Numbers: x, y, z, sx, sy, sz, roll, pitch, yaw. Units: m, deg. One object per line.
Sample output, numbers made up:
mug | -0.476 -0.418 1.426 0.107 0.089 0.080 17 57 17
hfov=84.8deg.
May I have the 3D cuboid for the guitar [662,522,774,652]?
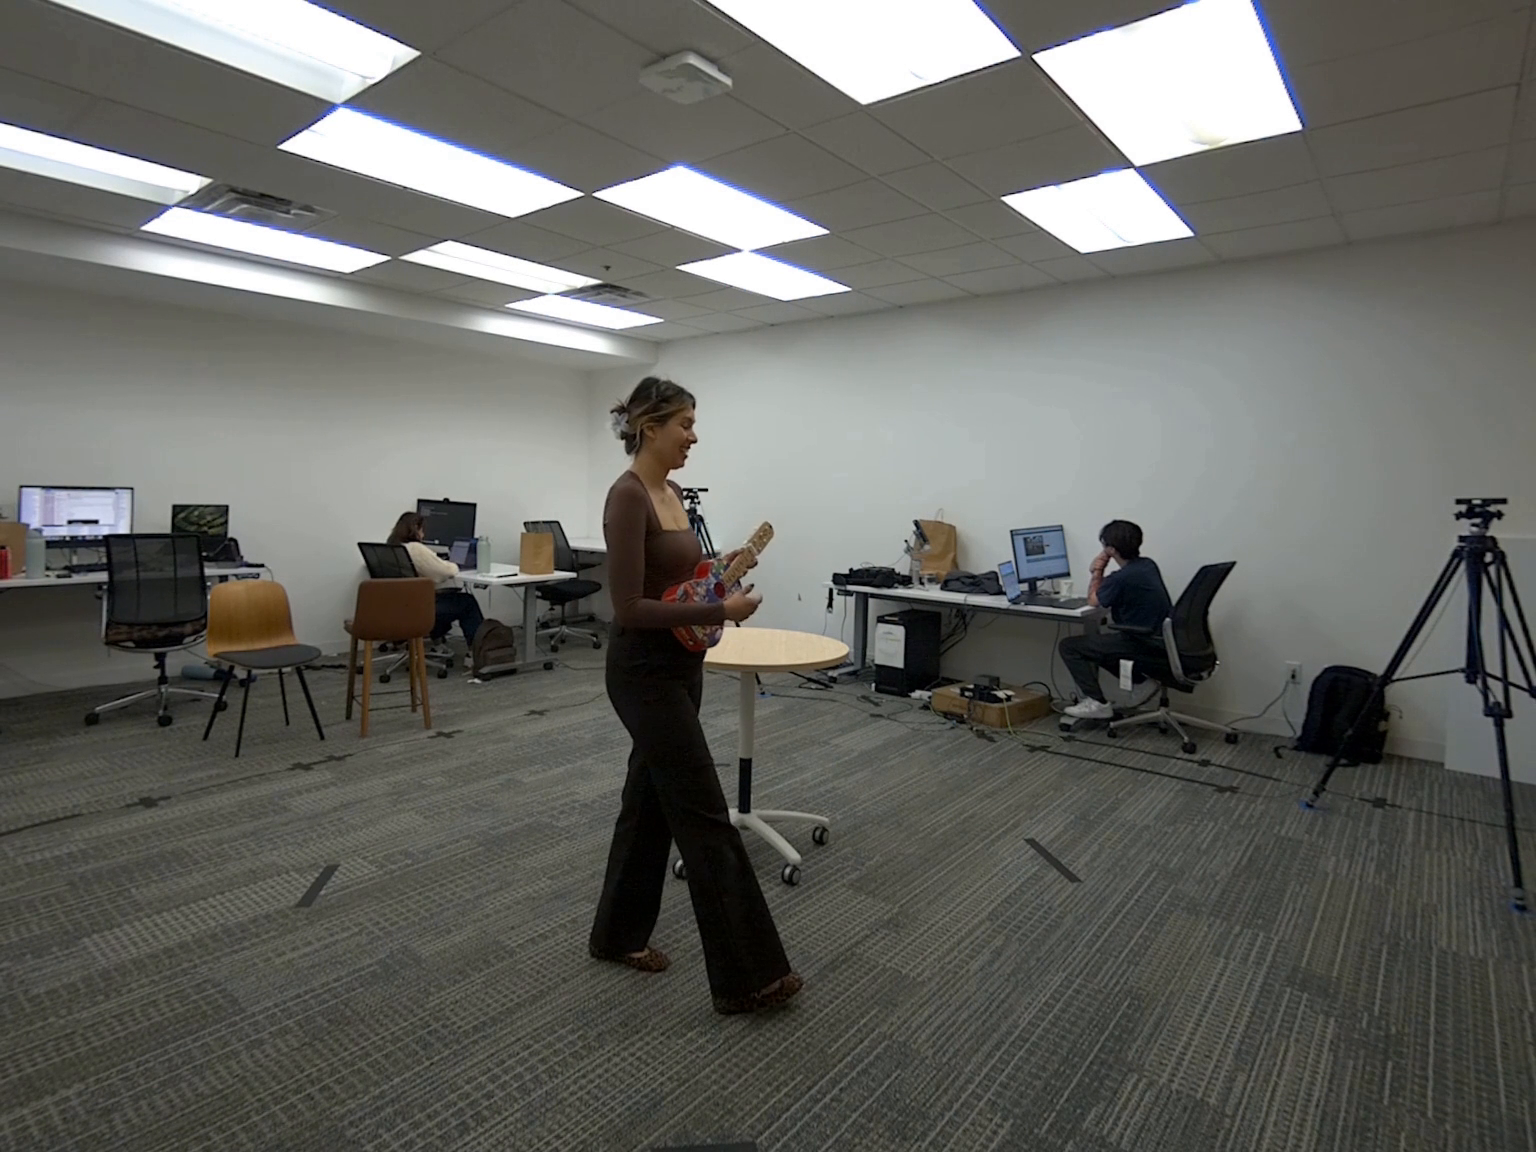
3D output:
guitar | -0.113 0.023 2.422 0.072 0.190 0.495 -18 17 41
